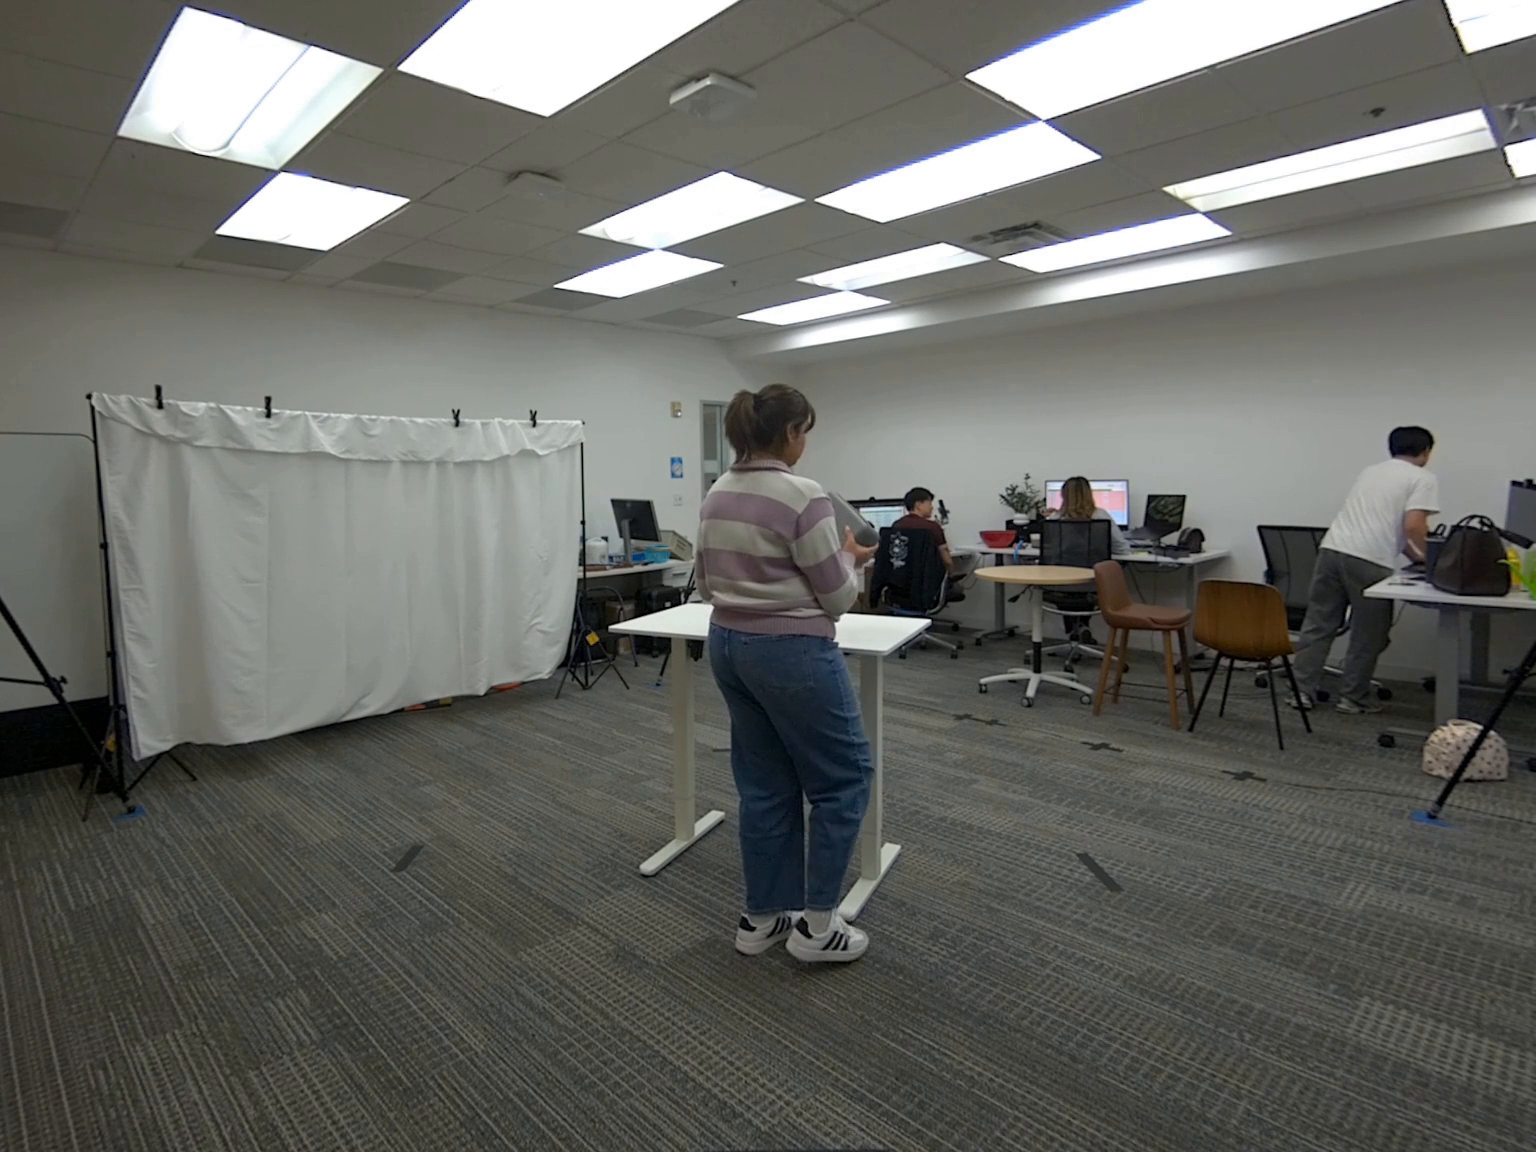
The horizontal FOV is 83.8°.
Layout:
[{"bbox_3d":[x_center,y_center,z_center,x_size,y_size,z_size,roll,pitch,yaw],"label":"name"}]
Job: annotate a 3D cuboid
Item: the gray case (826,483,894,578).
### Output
[{"bbox_3d":[0.219,-0.118,2.758,0.100,0.257,0.271,31,15,-38],"label":"gray case"}]
